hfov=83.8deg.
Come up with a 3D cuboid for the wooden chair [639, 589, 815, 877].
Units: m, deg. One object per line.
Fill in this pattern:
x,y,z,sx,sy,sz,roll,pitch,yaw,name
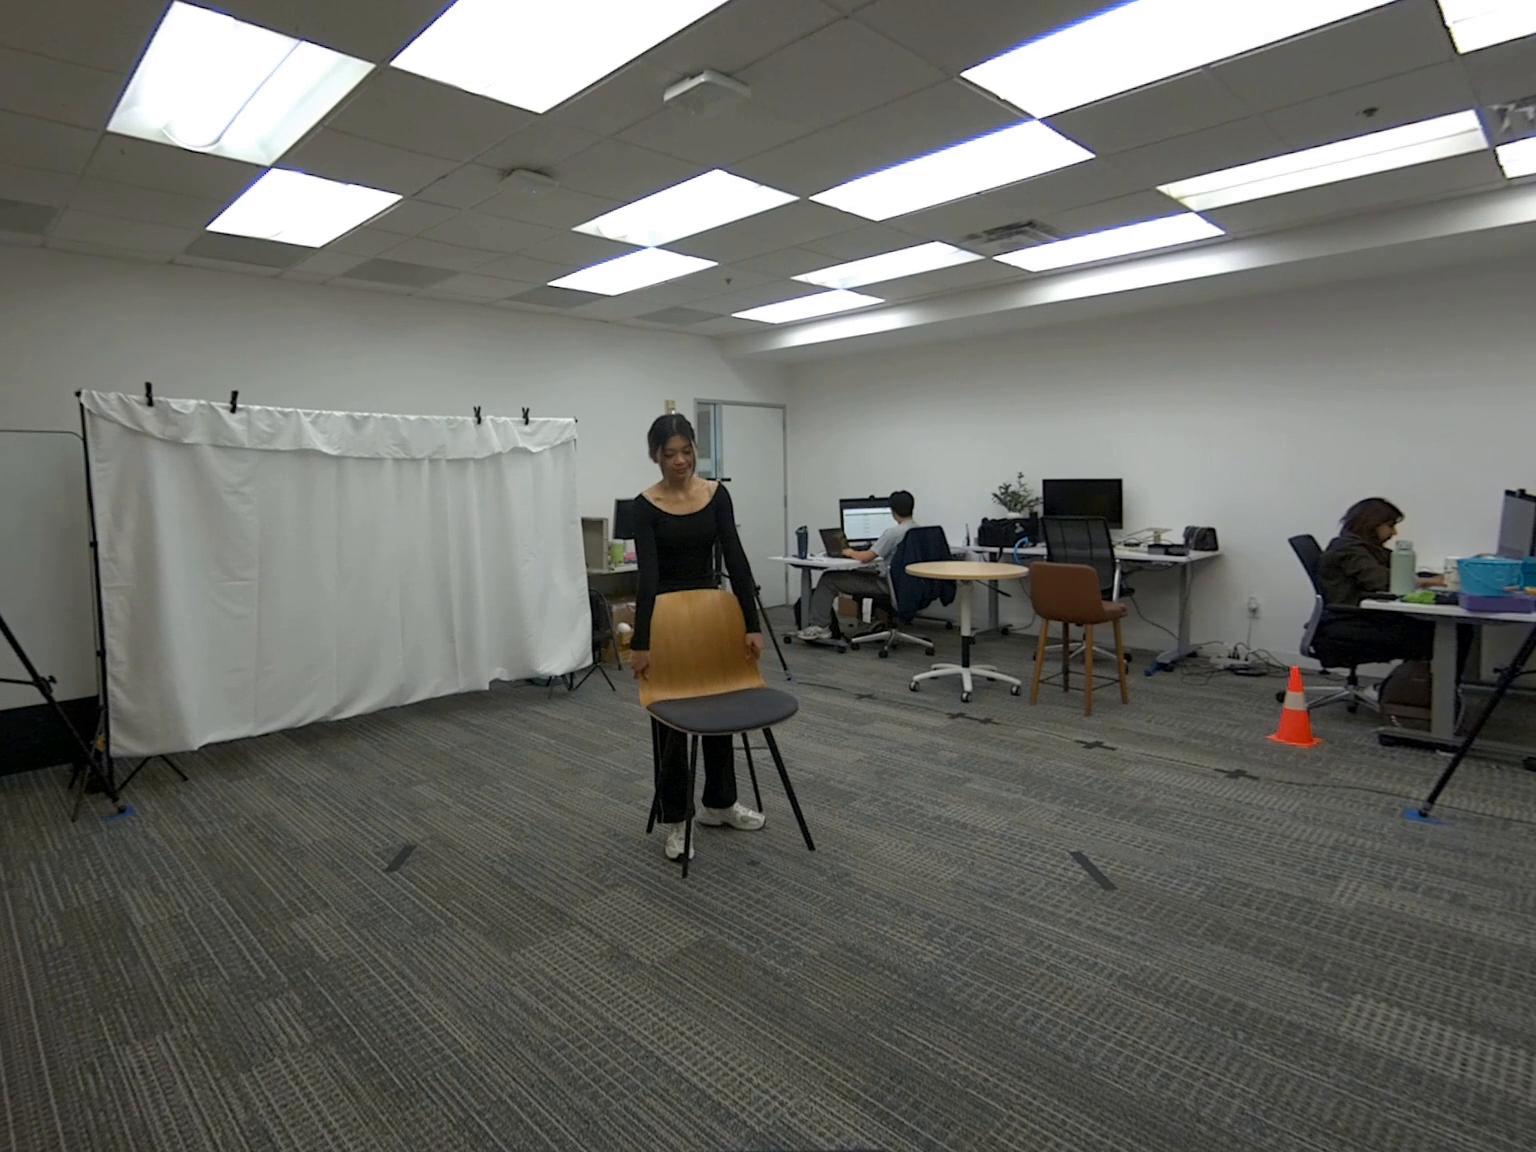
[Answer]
-0.166,0.486,2.895,0.470,0.880,0.531,-4,-3,-21,wooden chair
